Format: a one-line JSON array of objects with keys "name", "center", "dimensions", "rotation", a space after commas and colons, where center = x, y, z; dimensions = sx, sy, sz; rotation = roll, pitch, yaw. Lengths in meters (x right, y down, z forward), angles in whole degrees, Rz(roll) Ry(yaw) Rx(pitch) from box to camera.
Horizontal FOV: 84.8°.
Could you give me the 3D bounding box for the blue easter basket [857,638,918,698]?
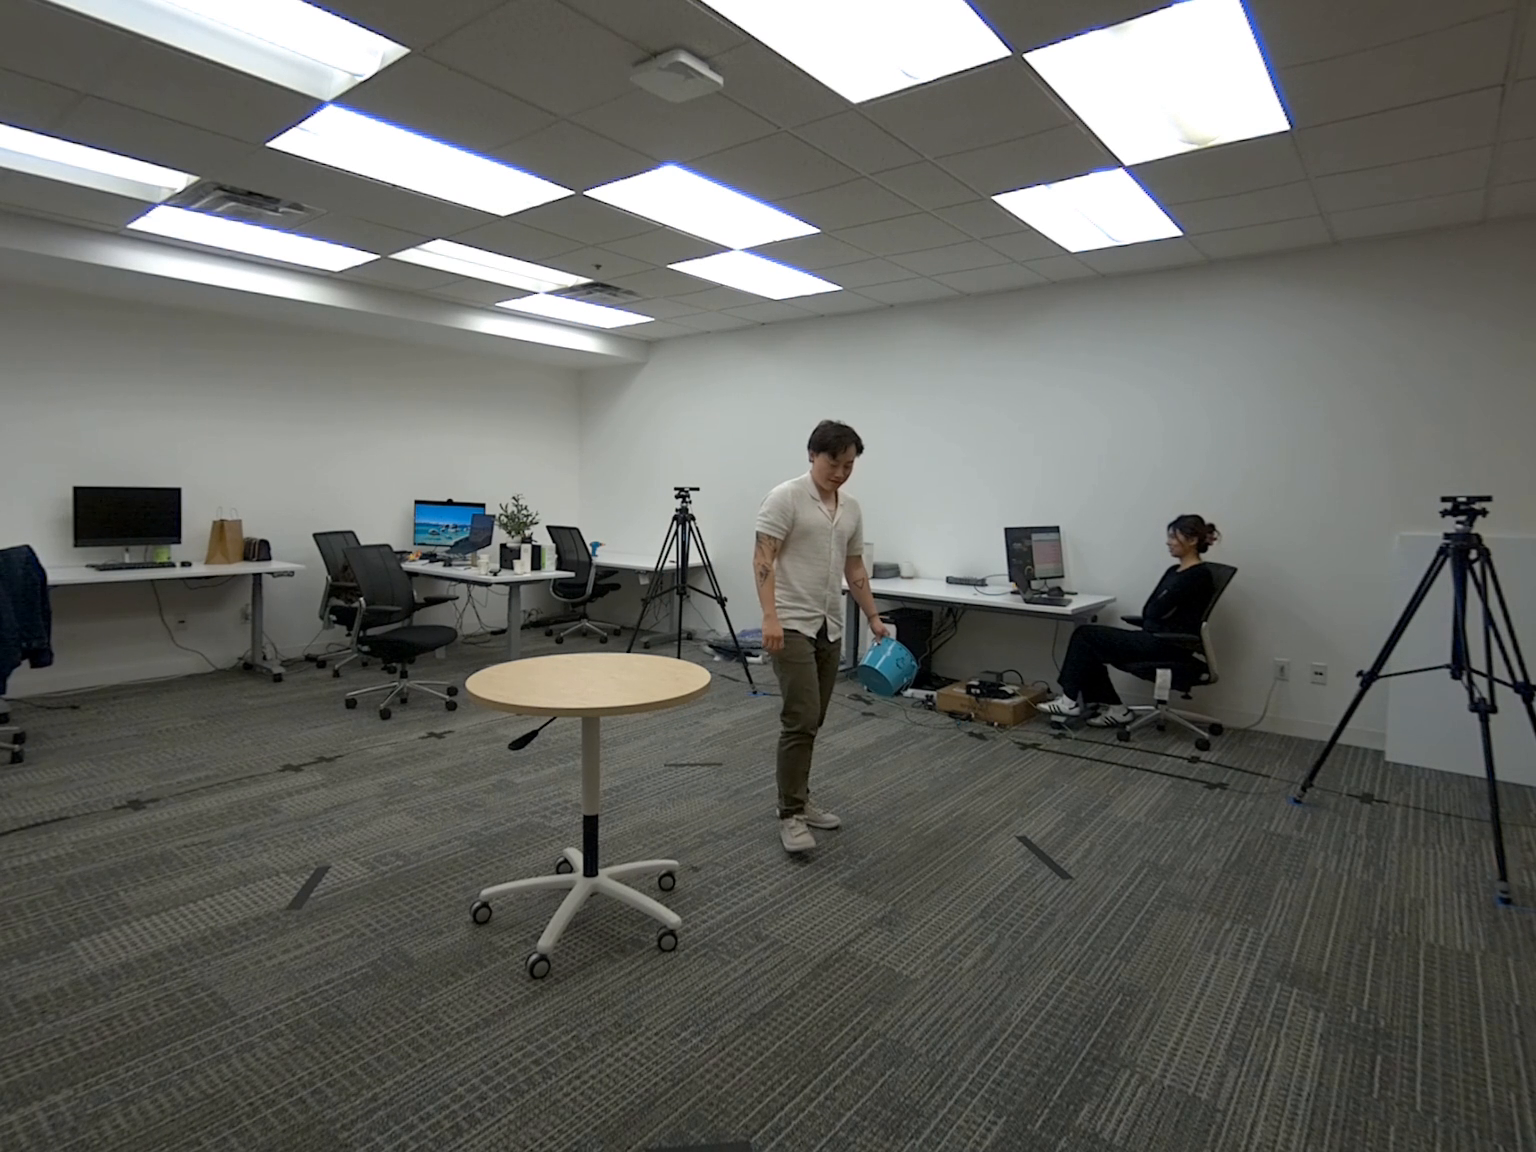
[{"name": "blue easter basket", "center": [0.490, 0.391, 3.582], "dimensions": [0.155, 0.236, 0.252], "rotation": [-44, 29, -28]}]
